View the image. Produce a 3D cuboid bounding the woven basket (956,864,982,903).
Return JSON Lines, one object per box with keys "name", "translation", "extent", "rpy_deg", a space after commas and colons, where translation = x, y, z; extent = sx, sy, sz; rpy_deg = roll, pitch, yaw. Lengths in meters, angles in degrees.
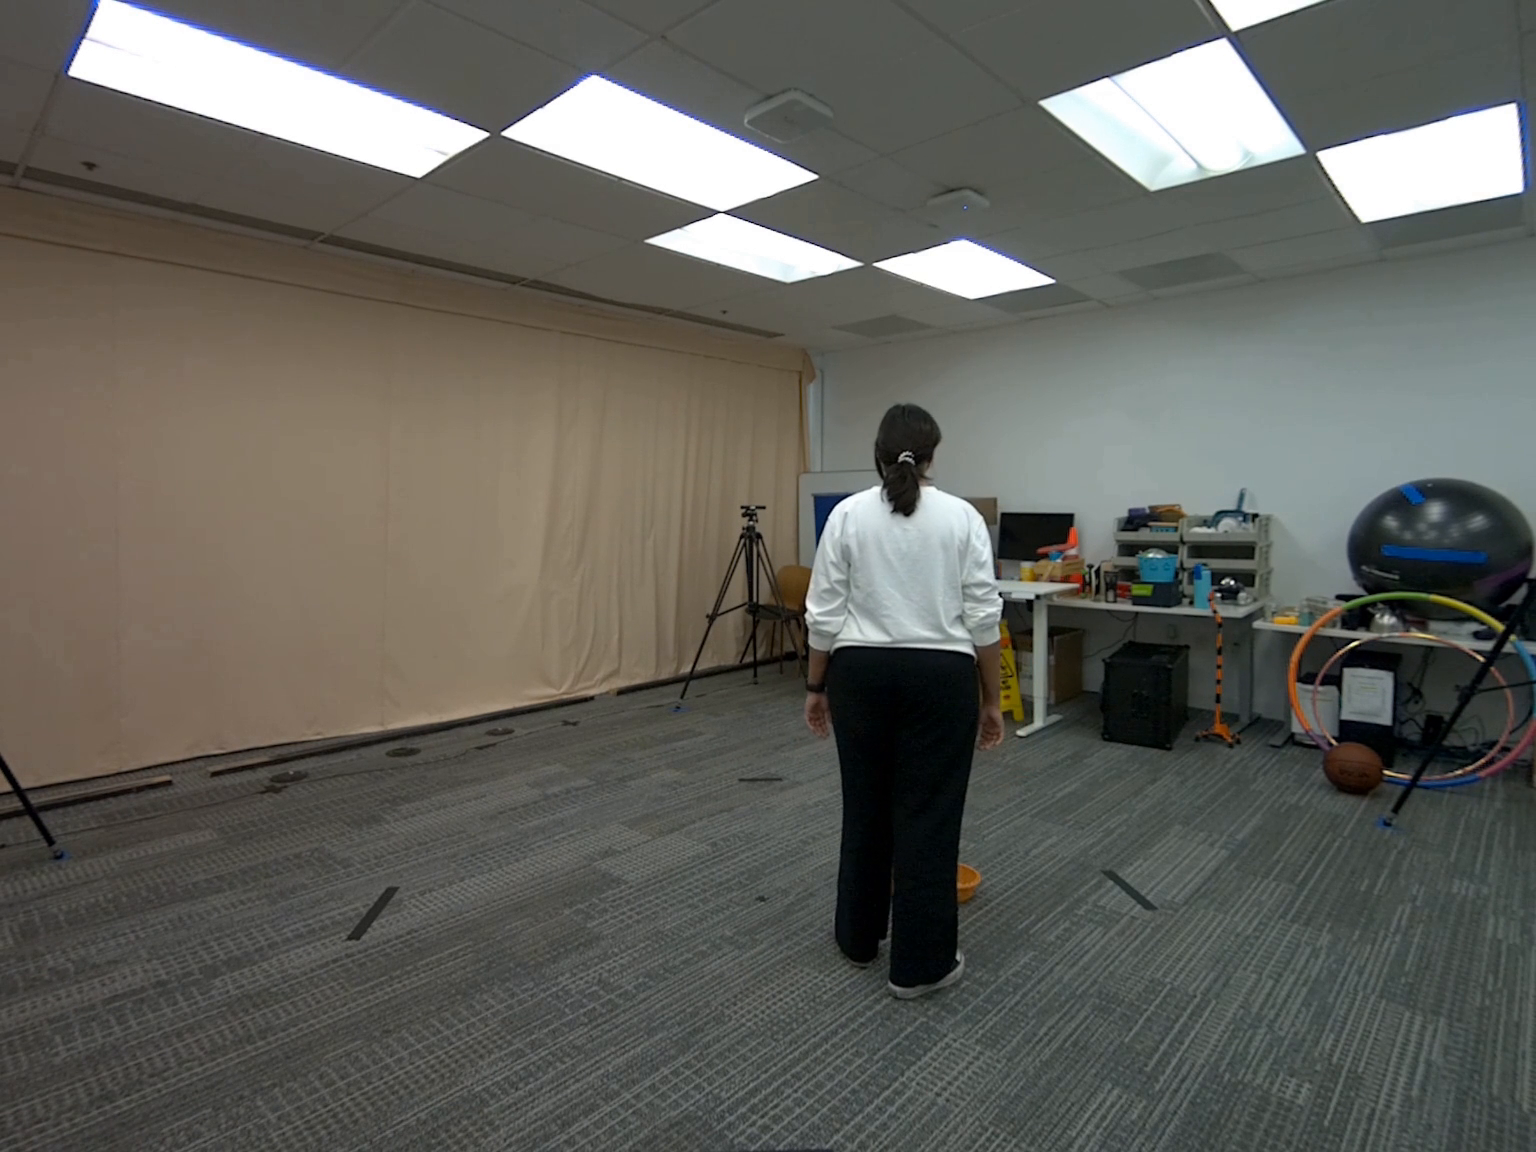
{"name": "woven basket", "translation": [0.592, 1.098, 3.020], "extent": [0.350, 0.073, 0.253], "rpy_deg": [0, 3, 0]}
